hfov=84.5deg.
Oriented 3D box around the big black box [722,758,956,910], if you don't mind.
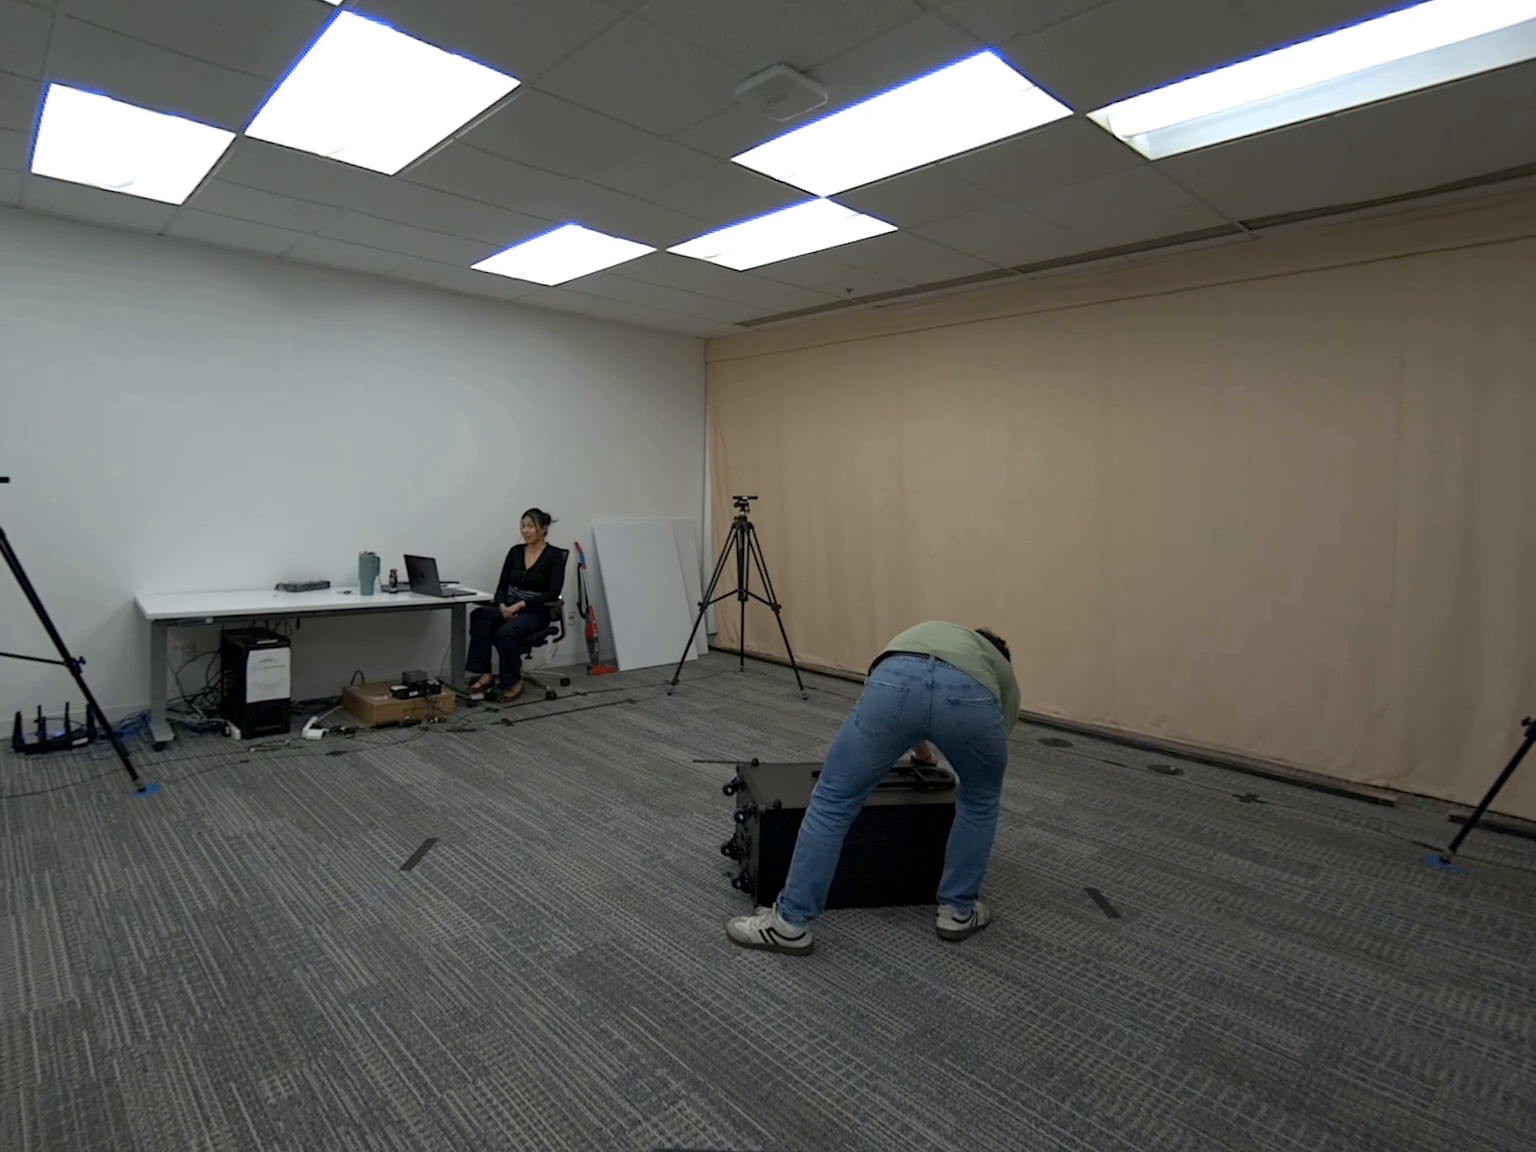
[{"bbox_3d":[0.265,0.920,3.090,0.855,0.395,0.526,0,5,-9],"label":"big black box"}]
